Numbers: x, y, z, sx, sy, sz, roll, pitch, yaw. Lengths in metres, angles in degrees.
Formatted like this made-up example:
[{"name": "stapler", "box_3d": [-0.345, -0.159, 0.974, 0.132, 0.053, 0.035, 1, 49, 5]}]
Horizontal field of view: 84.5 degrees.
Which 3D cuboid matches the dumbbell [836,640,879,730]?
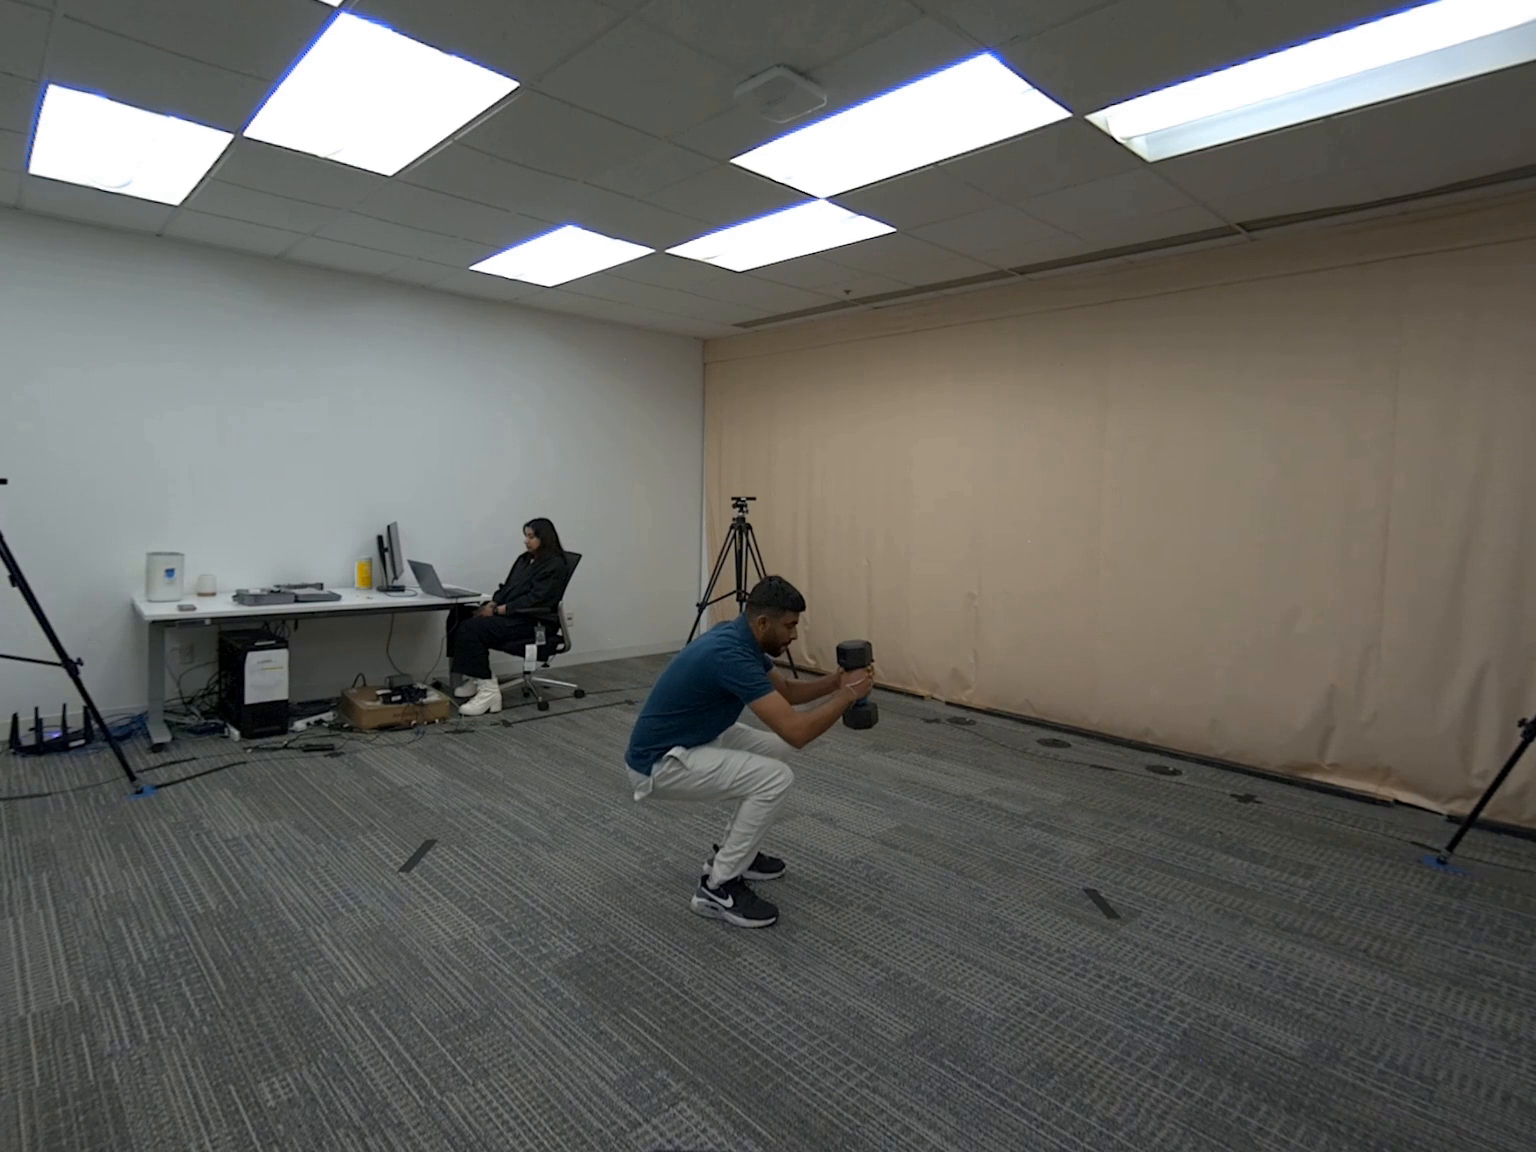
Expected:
[{"name": "dumbbell", "box_3d": [0.297, 0.372, 2.869, 0.111, 0.292, 0.121, -3, 6, 29]}]
